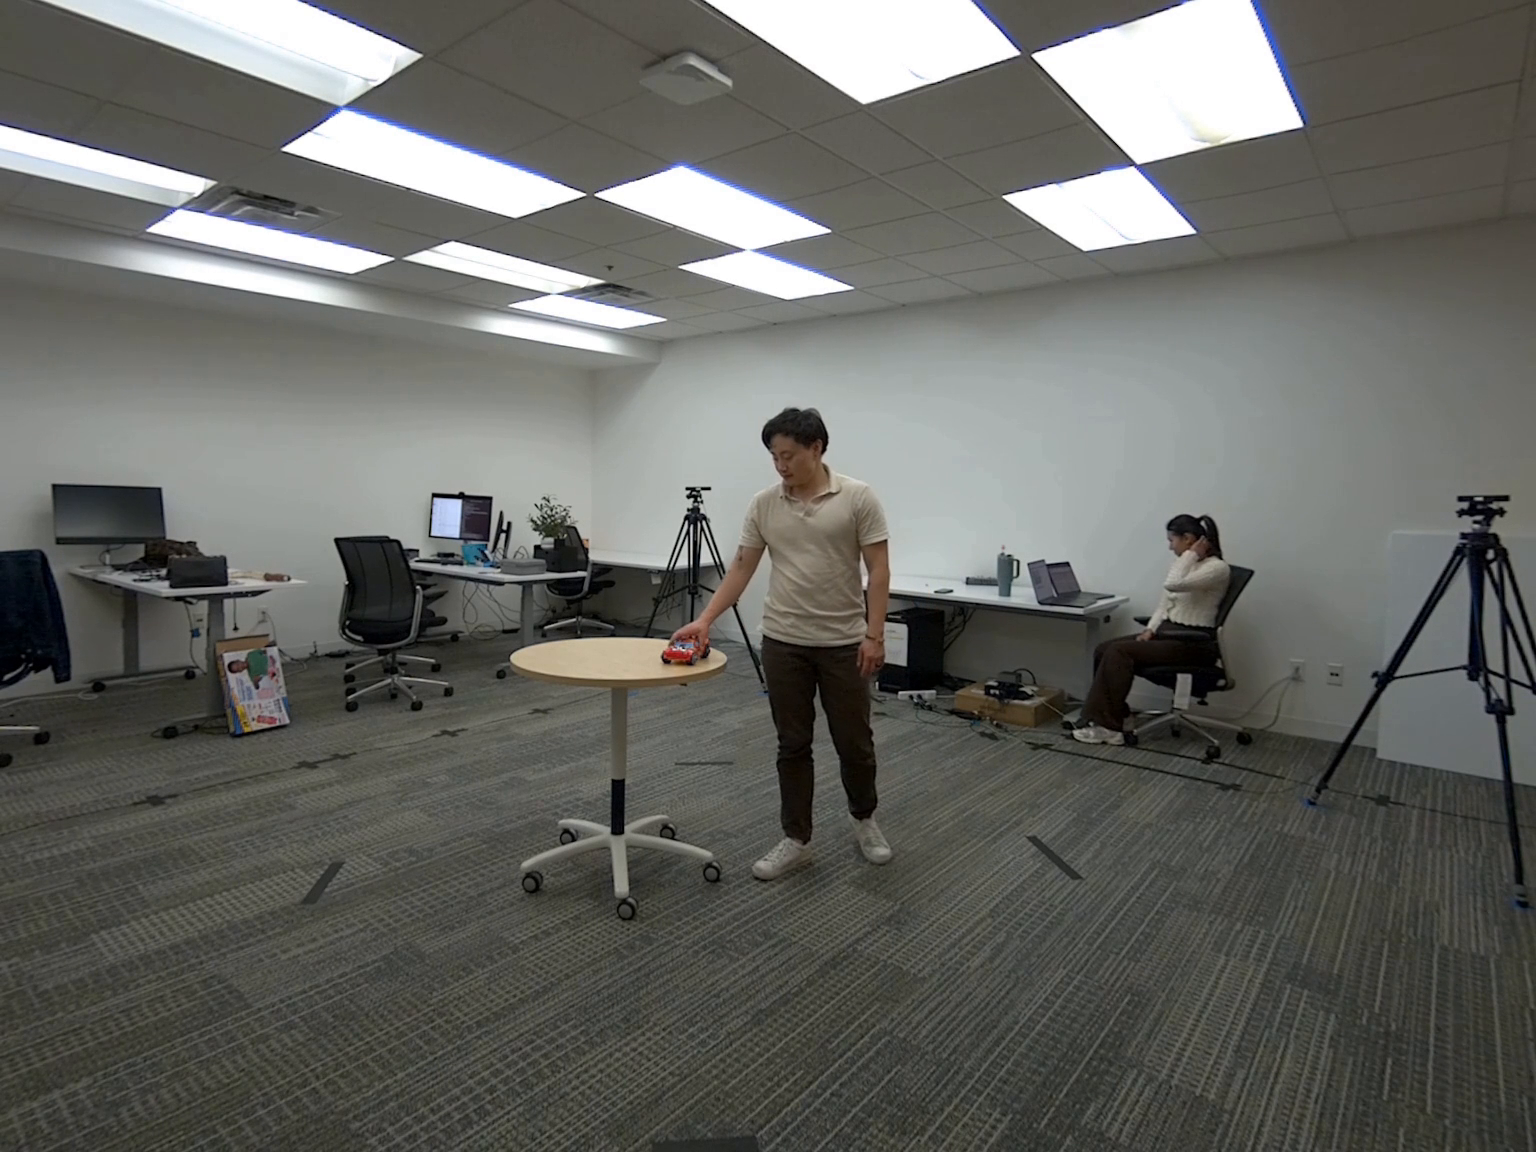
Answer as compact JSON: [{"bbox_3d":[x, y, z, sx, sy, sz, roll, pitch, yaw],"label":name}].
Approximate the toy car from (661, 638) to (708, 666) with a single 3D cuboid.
[{"bbox_3d":[-0.291,0.260,3.019,0.132,0.082,0.254,1,16,15],"label":"toy car"}]
